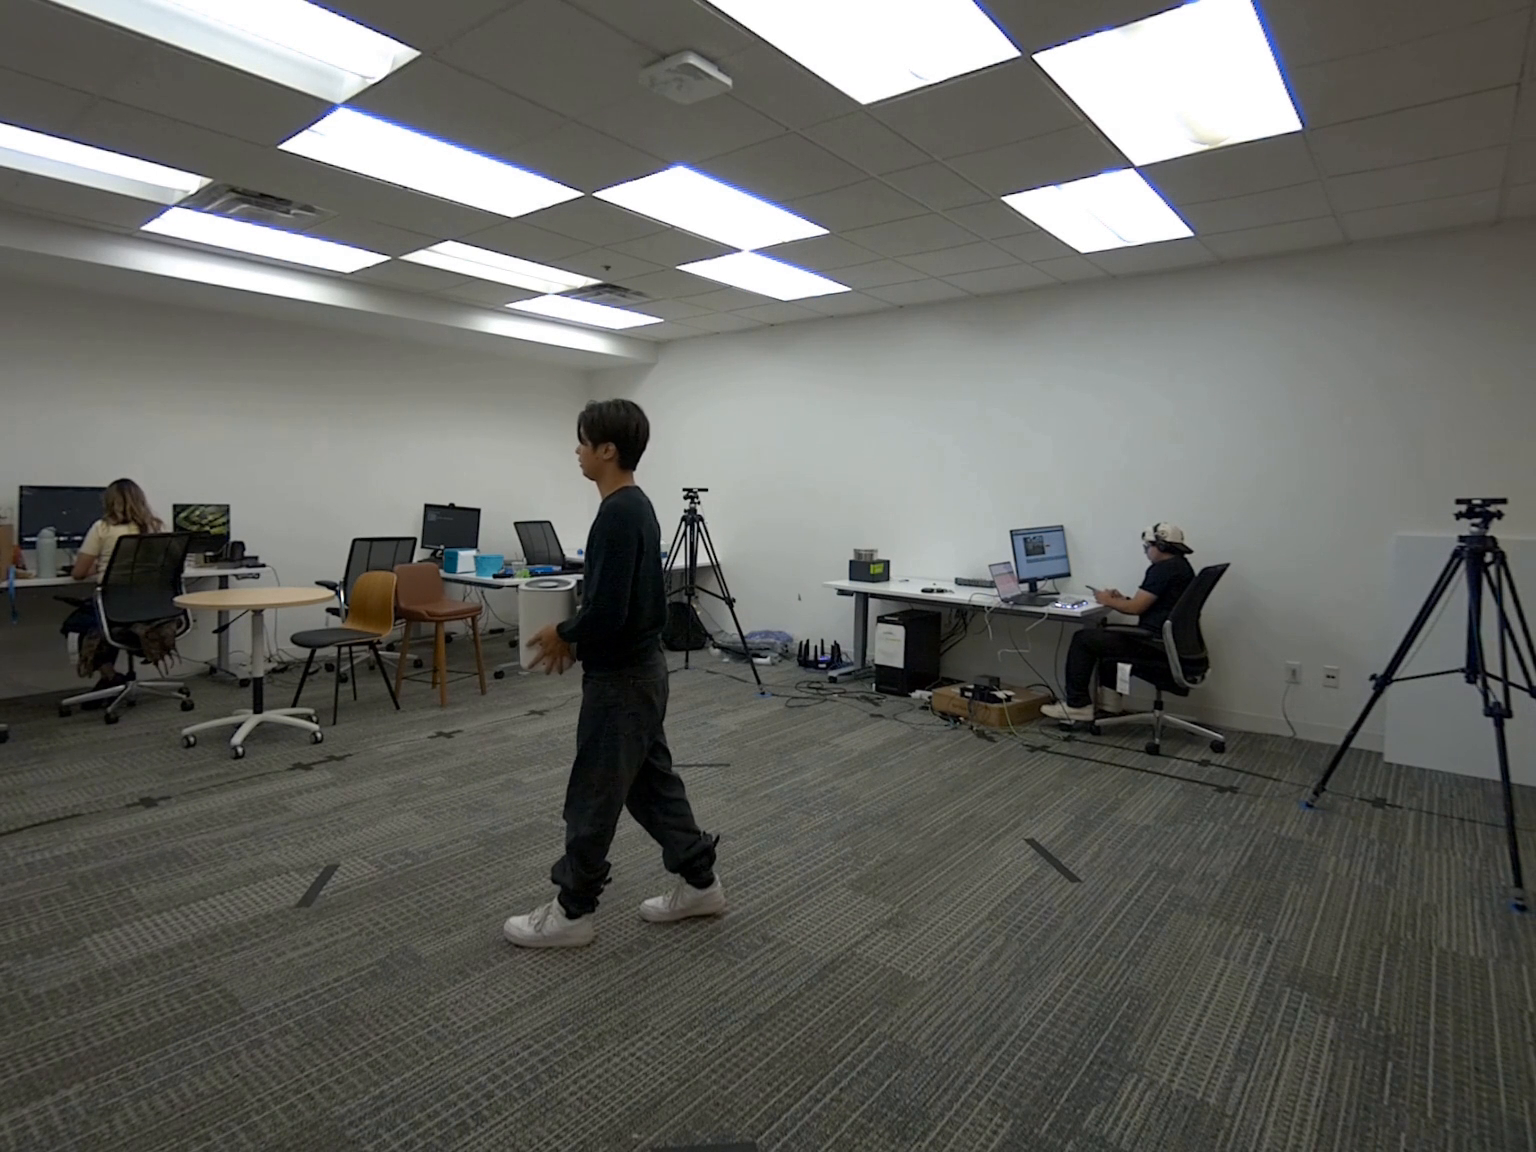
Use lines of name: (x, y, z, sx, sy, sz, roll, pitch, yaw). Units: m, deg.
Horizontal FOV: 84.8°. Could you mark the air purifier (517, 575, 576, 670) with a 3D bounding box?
air purifier: (-0.703, 0.146, 2.662, 0.172, 0.262, 0.173, 2, 12, 3)
